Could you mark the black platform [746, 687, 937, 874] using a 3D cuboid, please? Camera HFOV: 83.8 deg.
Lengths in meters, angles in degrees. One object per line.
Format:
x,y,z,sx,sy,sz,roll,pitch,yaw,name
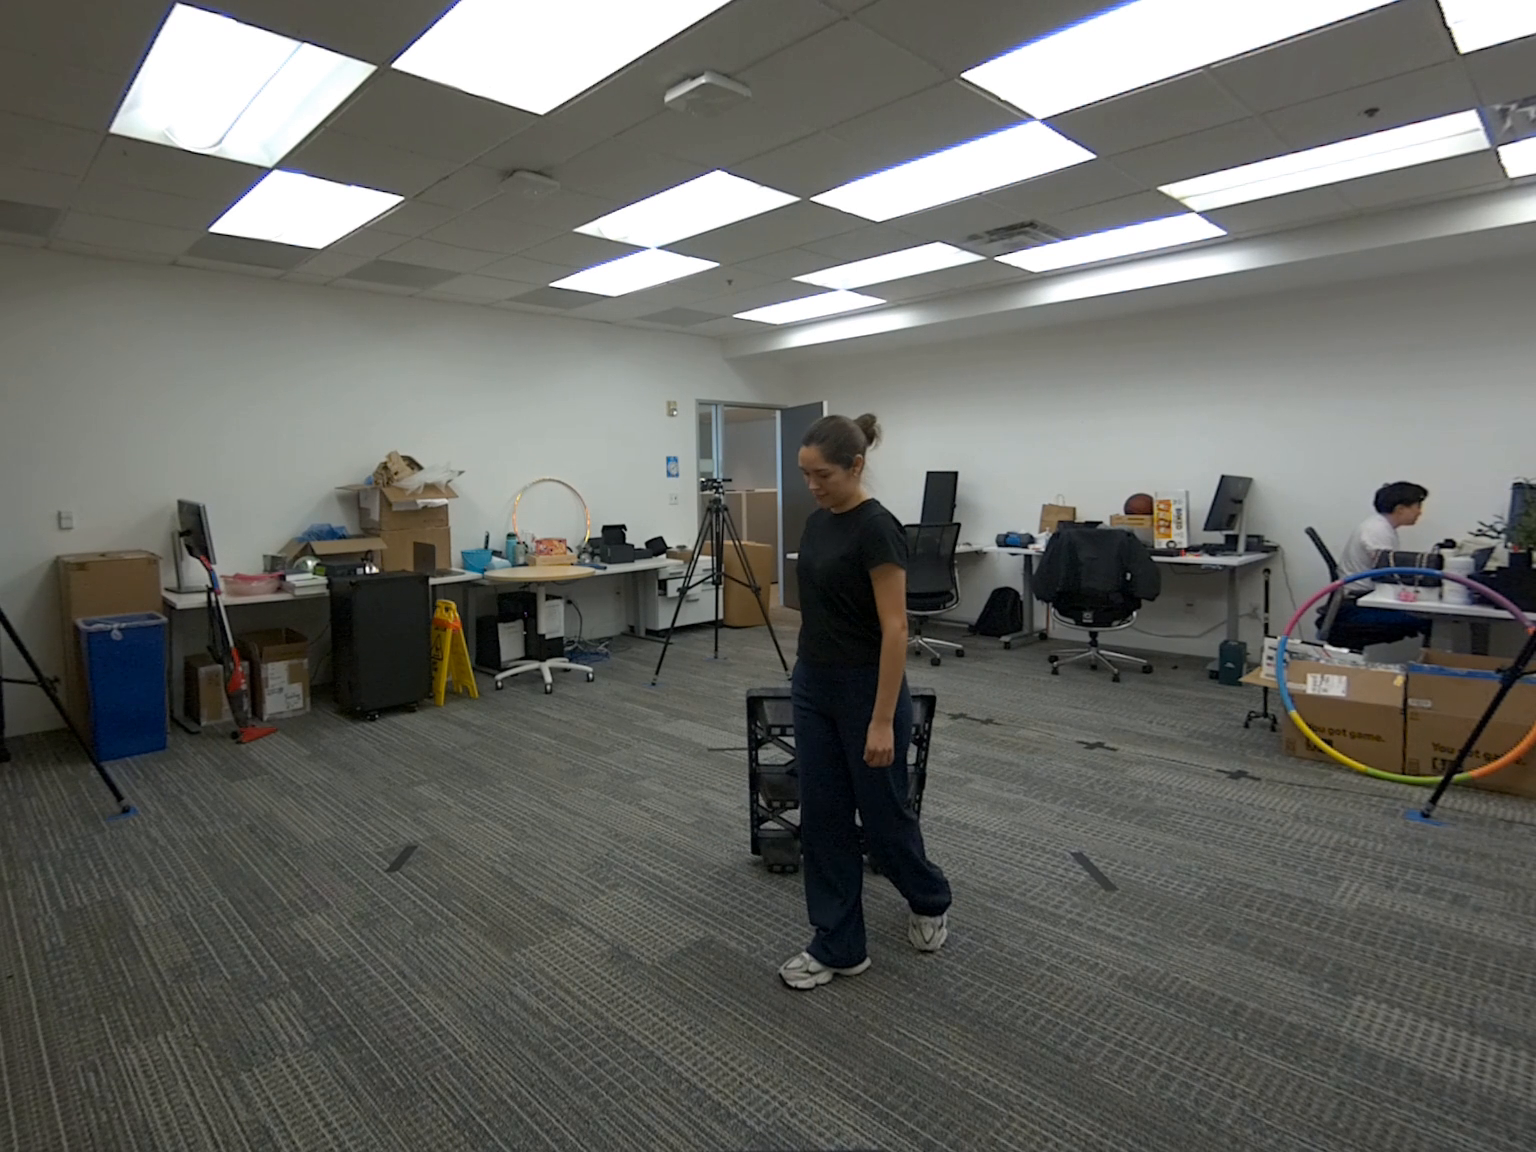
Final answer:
0.226,0.711,2.884,0.606,0.785,0.147,0,33,2,black platform
